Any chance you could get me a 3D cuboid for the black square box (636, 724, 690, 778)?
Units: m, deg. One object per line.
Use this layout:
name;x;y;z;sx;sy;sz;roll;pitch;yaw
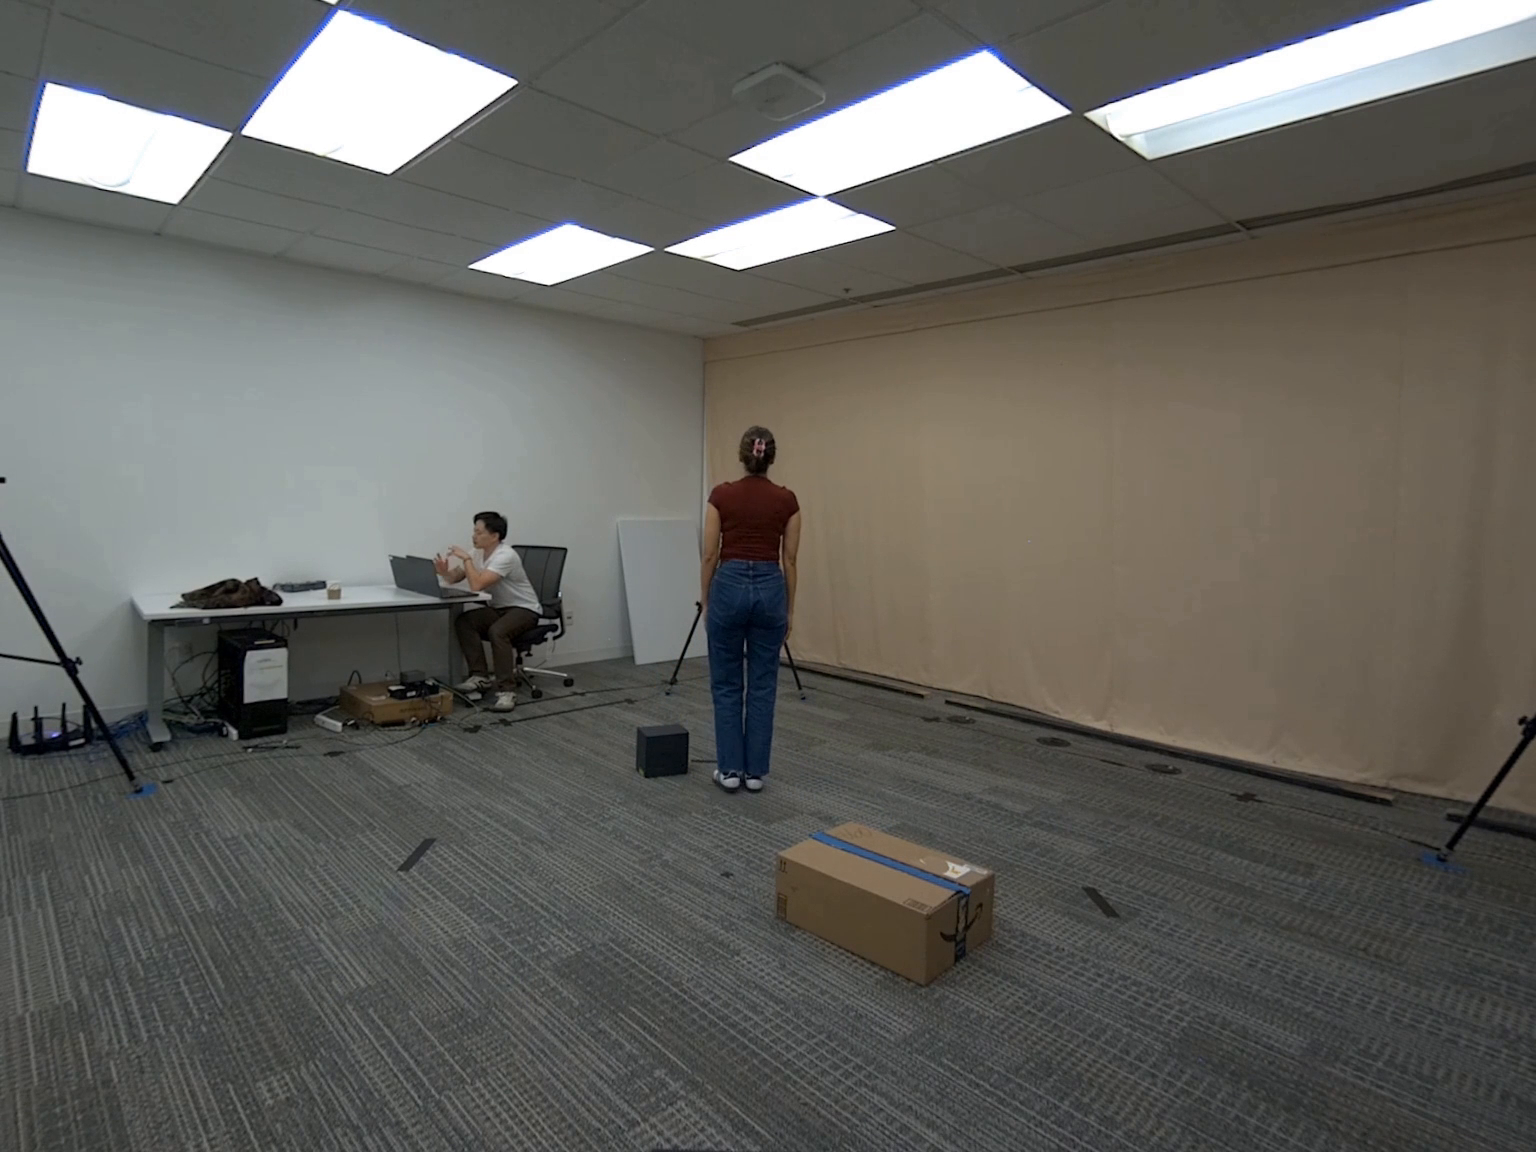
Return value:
black square box;-0.544;0.872;4.253;0.224;0.216;0.159;-2;6;-25
